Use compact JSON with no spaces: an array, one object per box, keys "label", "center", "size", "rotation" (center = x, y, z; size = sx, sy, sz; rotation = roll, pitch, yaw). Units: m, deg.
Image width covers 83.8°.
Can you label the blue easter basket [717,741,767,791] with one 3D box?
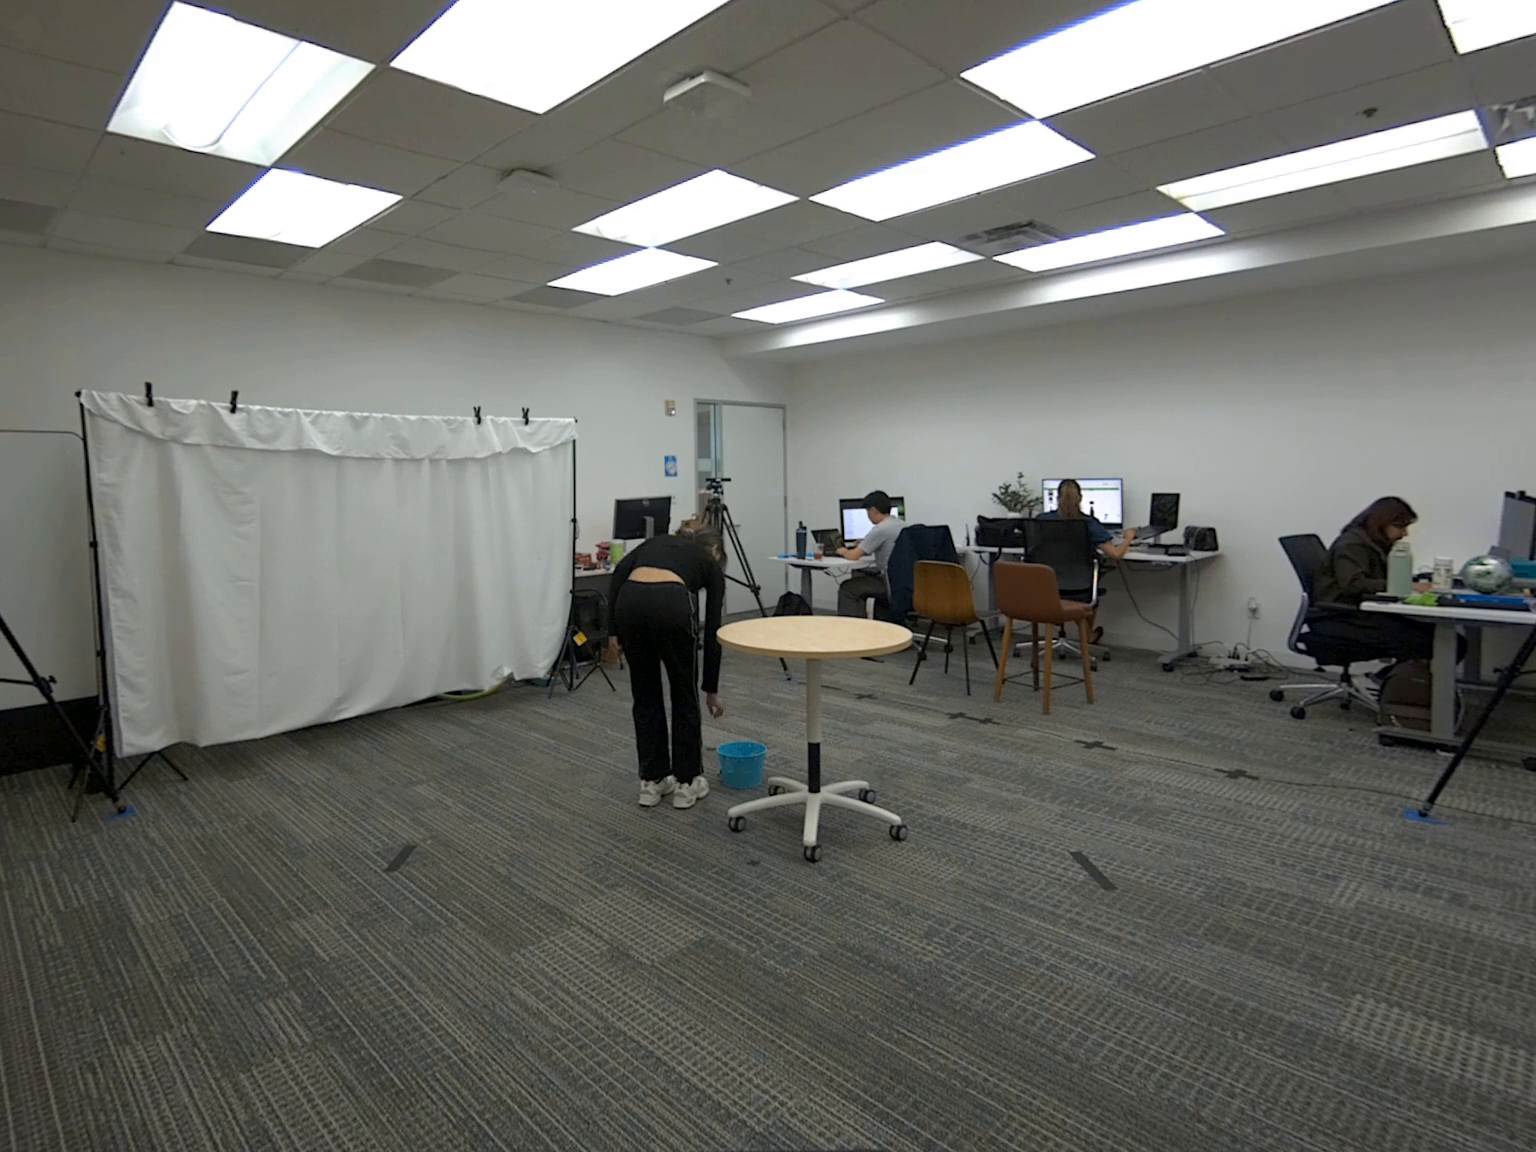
[{"label":"blue easter basket","center":[-0.120,0.871,3.952],"size":[0.243,0.155,0.245],"rotation":[-1,5,-2]}]
